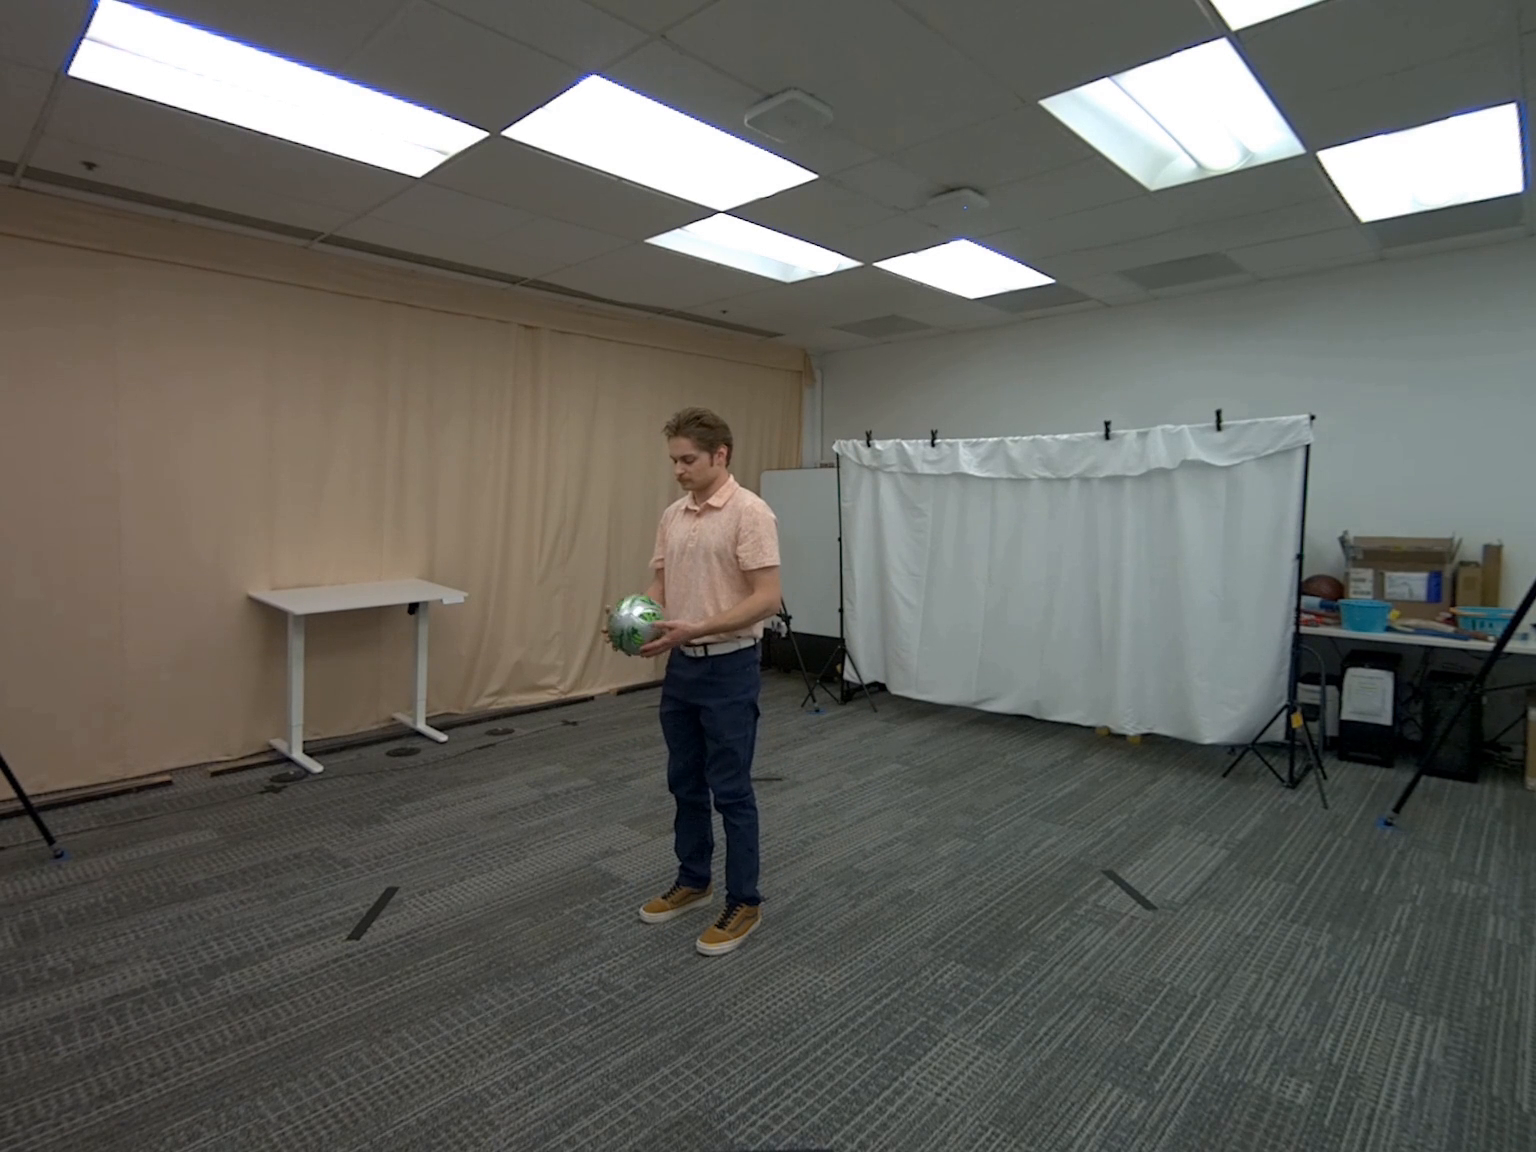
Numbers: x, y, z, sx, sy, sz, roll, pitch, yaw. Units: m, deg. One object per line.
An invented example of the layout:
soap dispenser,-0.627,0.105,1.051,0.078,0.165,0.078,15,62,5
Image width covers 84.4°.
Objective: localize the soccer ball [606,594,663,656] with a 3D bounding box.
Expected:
soccer ball,-0.394,0.144,2.586,0.187,0.187,0.188,0,4,-2
